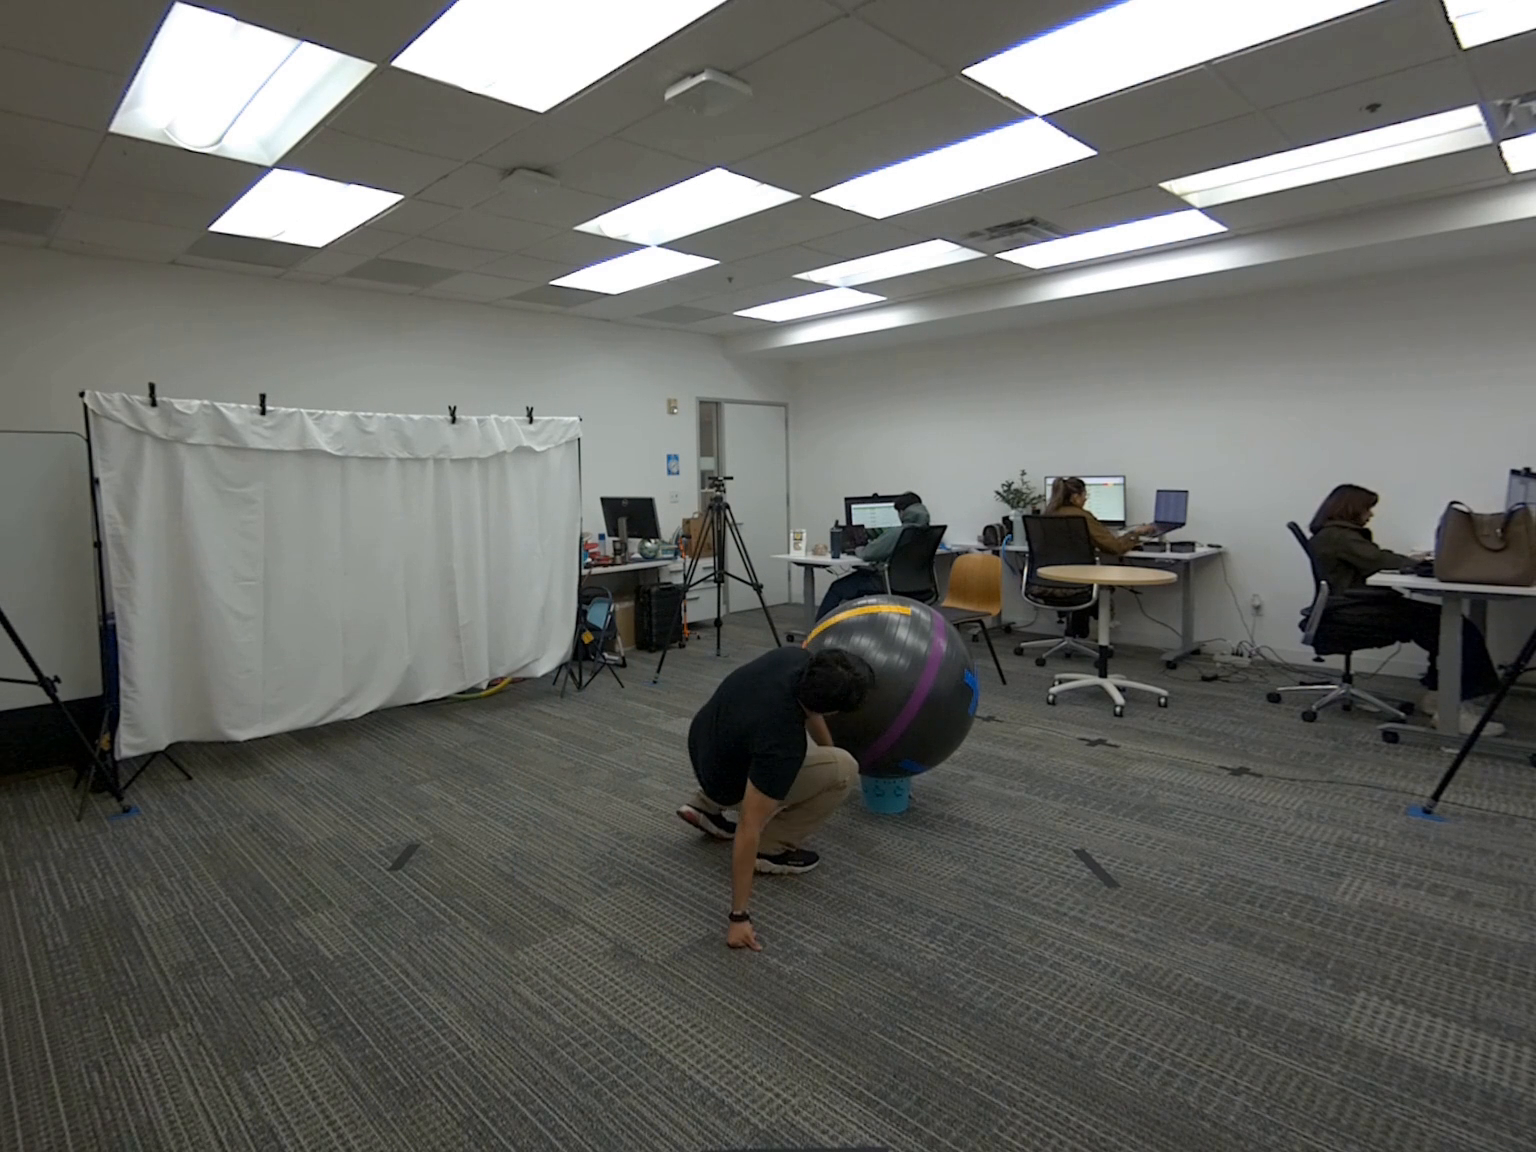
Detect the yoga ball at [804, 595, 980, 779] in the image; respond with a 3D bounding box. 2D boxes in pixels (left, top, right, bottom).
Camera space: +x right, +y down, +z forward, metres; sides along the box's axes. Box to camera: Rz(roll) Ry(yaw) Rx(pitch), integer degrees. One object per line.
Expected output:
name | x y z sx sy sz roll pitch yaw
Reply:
yoga ball | 0.487 0.465 3.587 0.757 0.755 0.762 -1 5 -2
